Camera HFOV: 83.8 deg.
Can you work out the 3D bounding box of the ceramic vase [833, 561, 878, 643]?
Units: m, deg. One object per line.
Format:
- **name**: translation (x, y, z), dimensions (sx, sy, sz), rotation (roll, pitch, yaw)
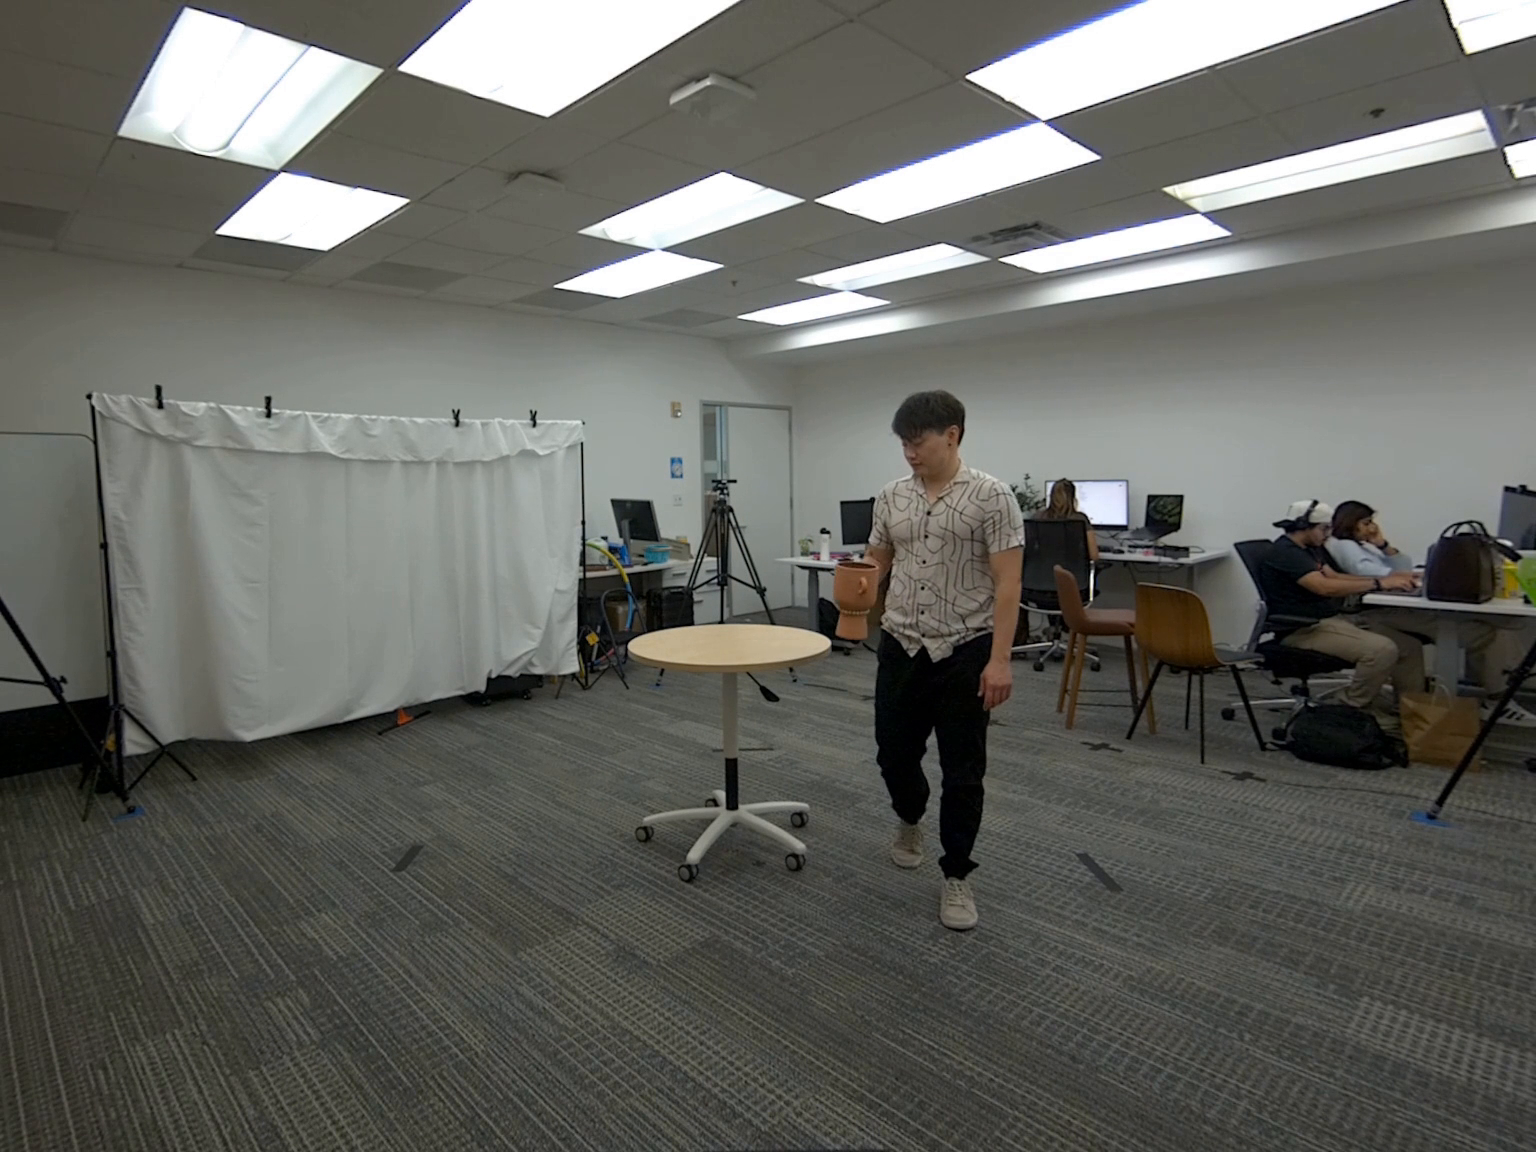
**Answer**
- **ceramic vase**: translation (0.280, 0.076, 2.608), dimensions (0.138, 0.218, 0.155), rotation (6, 10, 34)
